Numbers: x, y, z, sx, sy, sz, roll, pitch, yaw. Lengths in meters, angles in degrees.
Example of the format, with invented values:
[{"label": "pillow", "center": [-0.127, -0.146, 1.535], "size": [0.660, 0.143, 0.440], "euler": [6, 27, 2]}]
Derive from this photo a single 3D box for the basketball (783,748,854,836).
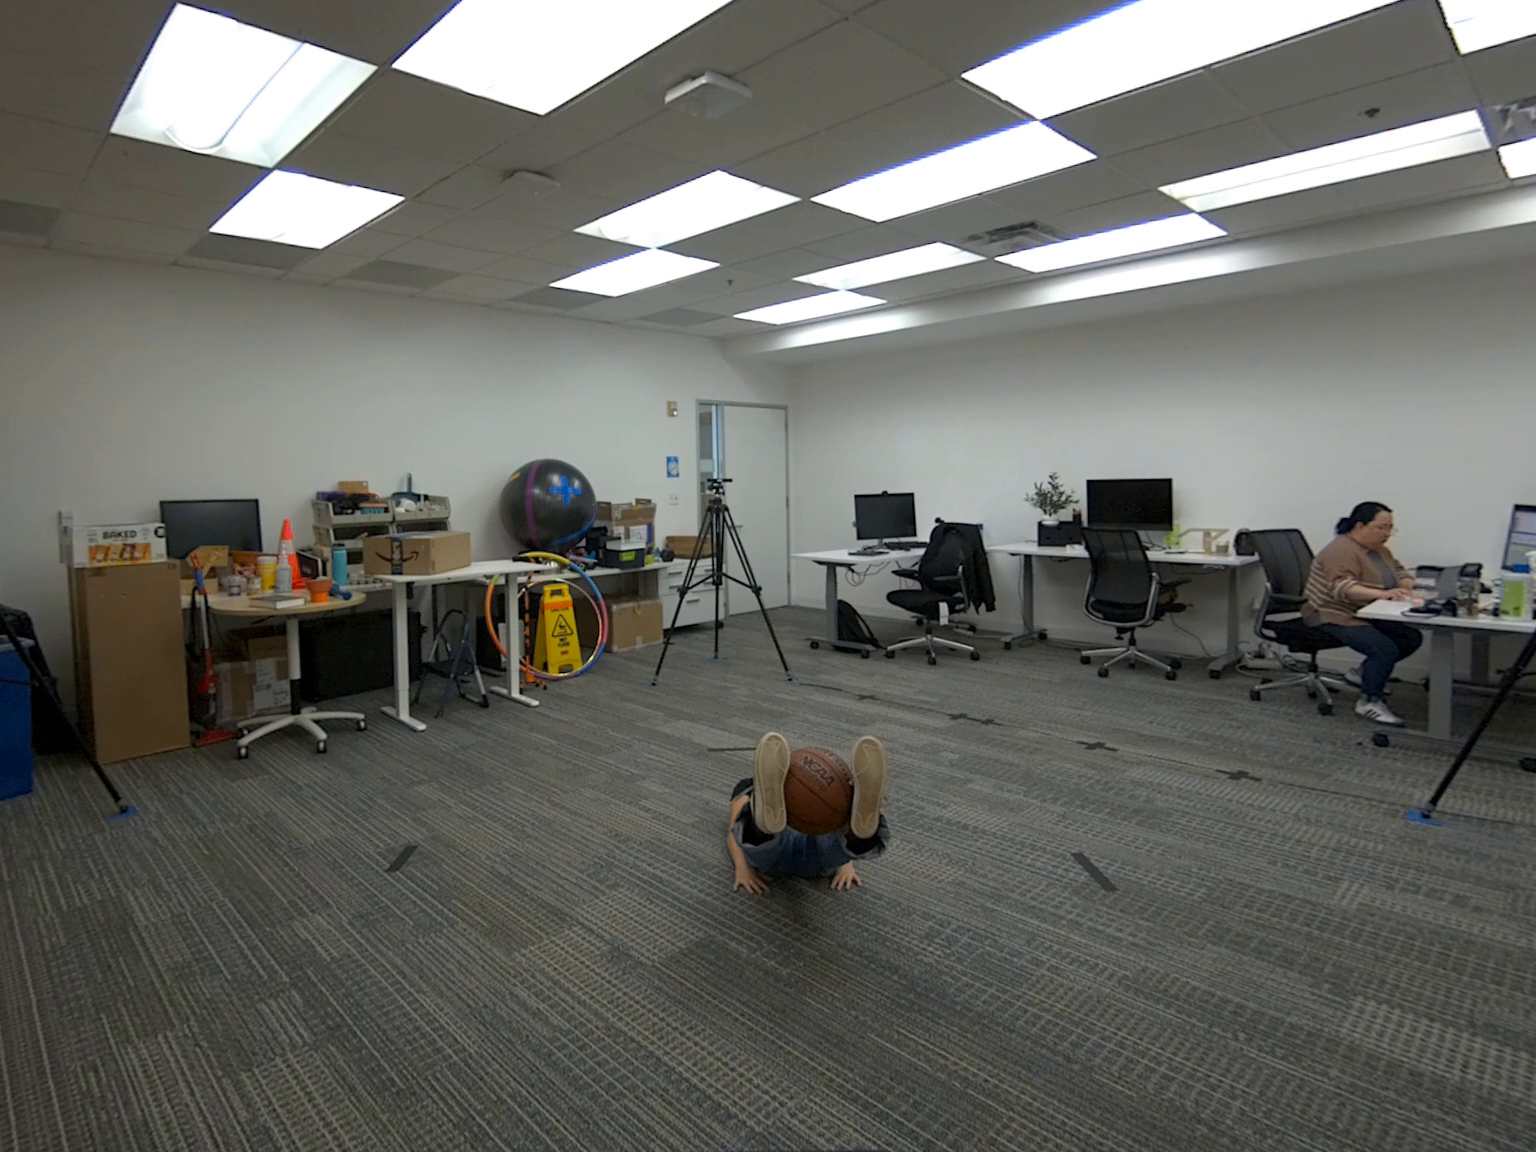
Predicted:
[{"label": "basketball", "center": [0.137, 0.610, 2.411], "size": [0.236, 0.235, 0.237], "euler": [-1, 5, -2]}]
